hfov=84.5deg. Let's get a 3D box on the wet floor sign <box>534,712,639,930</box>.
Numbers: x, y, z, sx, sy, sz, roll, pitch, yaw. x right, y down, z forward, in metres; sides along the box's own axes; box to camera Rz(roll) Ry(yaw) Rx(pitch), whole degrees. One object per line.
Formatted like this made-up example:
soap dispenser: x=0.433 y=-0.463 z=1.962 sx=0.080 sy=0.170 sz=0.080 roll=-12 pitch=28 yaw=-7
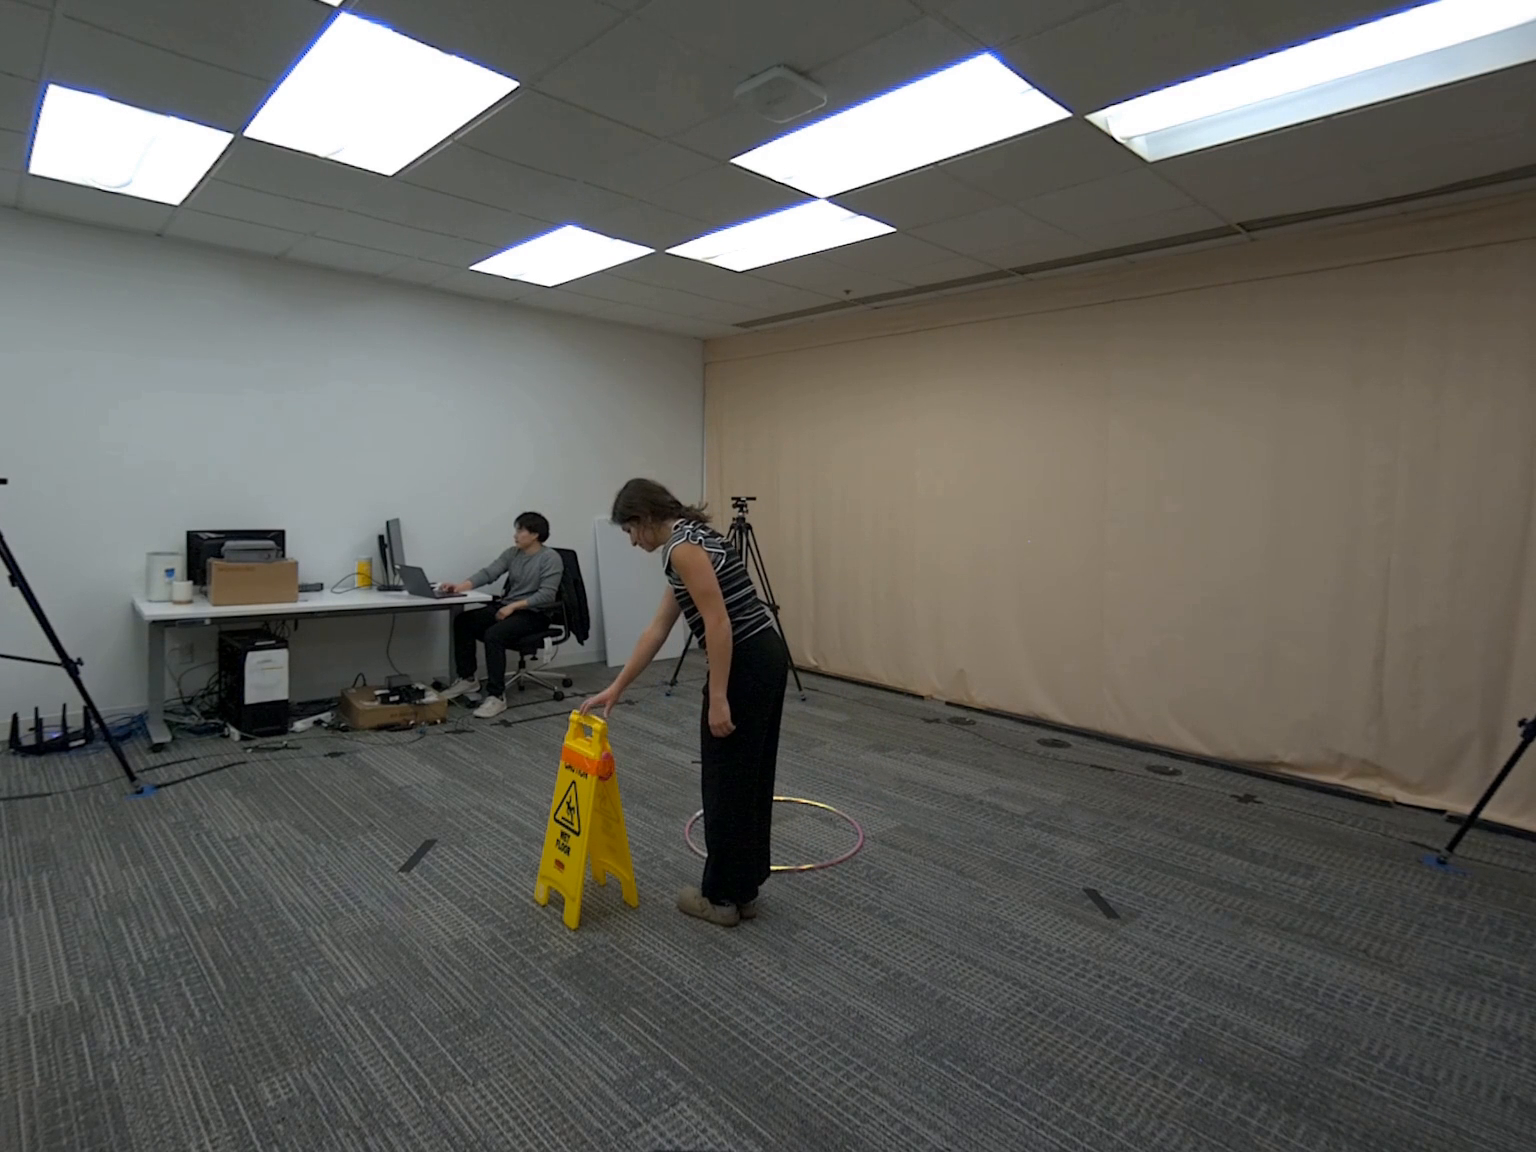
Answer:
wet floor sign: x=-0.615 y=0.790 z=2.862 sx=0.283 sy=0.644 sz=0.289 roll=-1 pitch=4 yaw=-42
